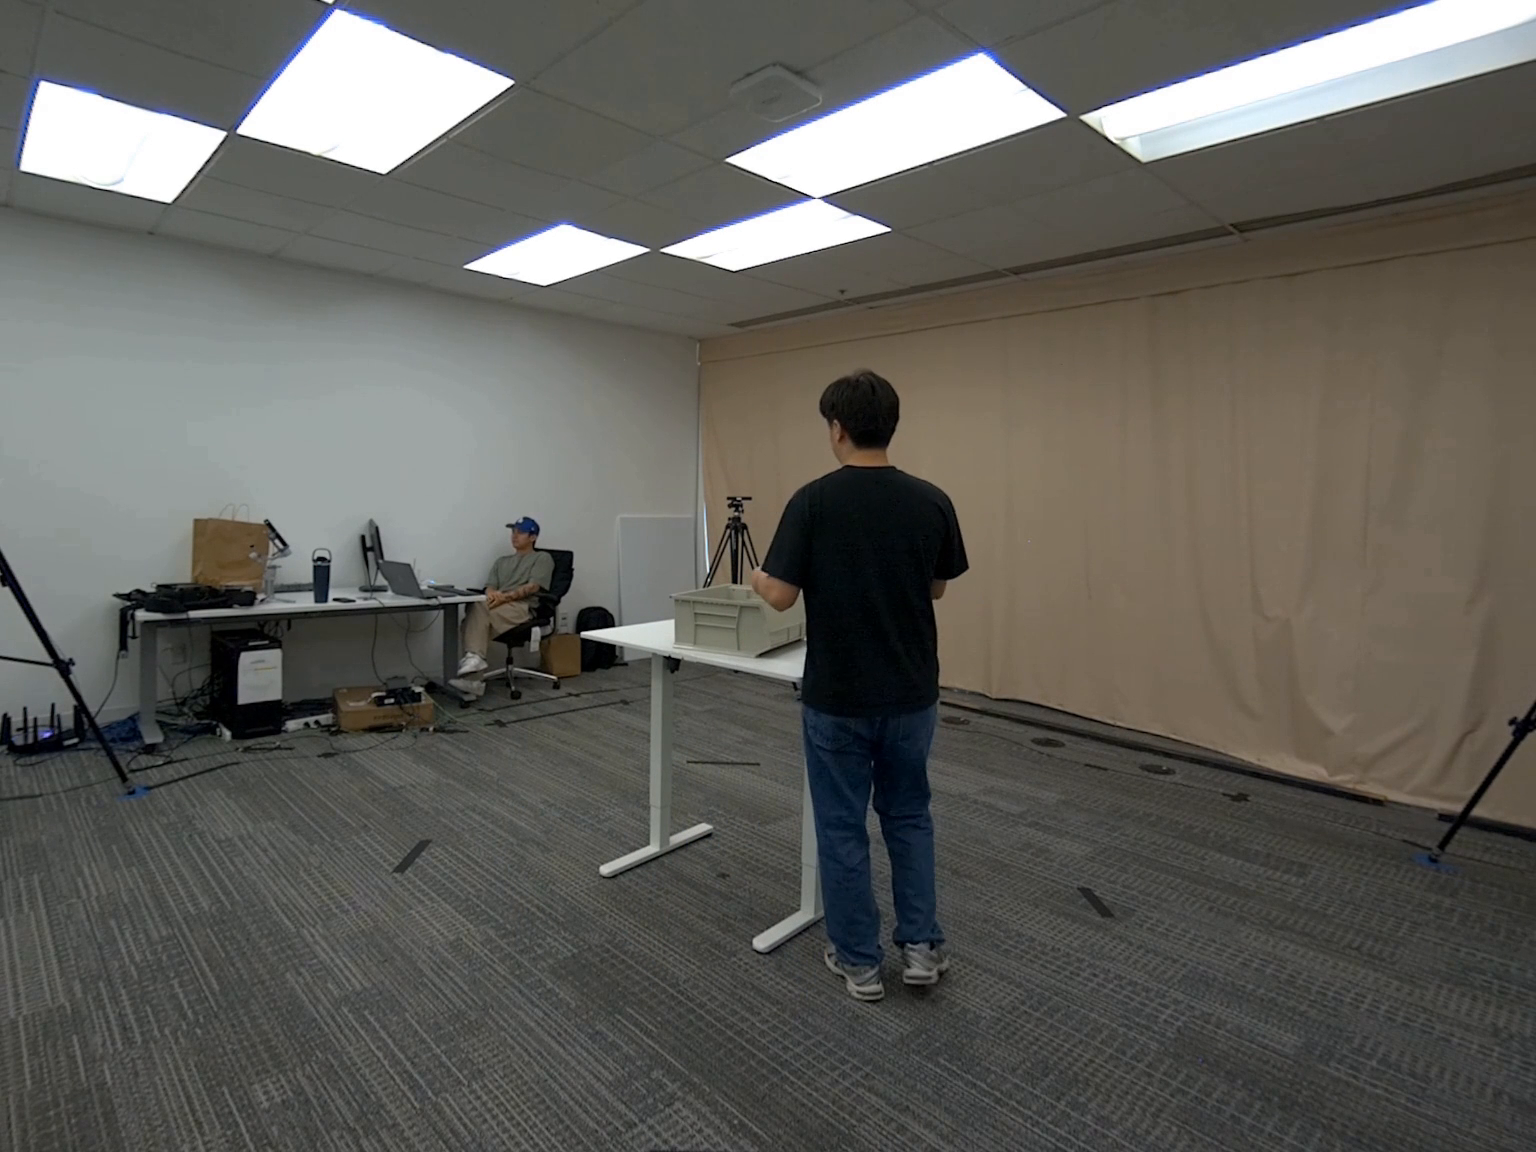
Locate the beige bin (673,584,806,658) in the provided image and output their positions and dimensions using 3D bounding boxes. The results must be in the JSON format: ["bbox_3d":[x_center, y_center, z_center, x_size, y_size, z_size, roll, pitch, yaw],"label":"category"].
[{"bbox_3d":[-0.077,0.153,2.931,0.385,0.188,0.415,2,6,28],"label":"beige bin"}]
